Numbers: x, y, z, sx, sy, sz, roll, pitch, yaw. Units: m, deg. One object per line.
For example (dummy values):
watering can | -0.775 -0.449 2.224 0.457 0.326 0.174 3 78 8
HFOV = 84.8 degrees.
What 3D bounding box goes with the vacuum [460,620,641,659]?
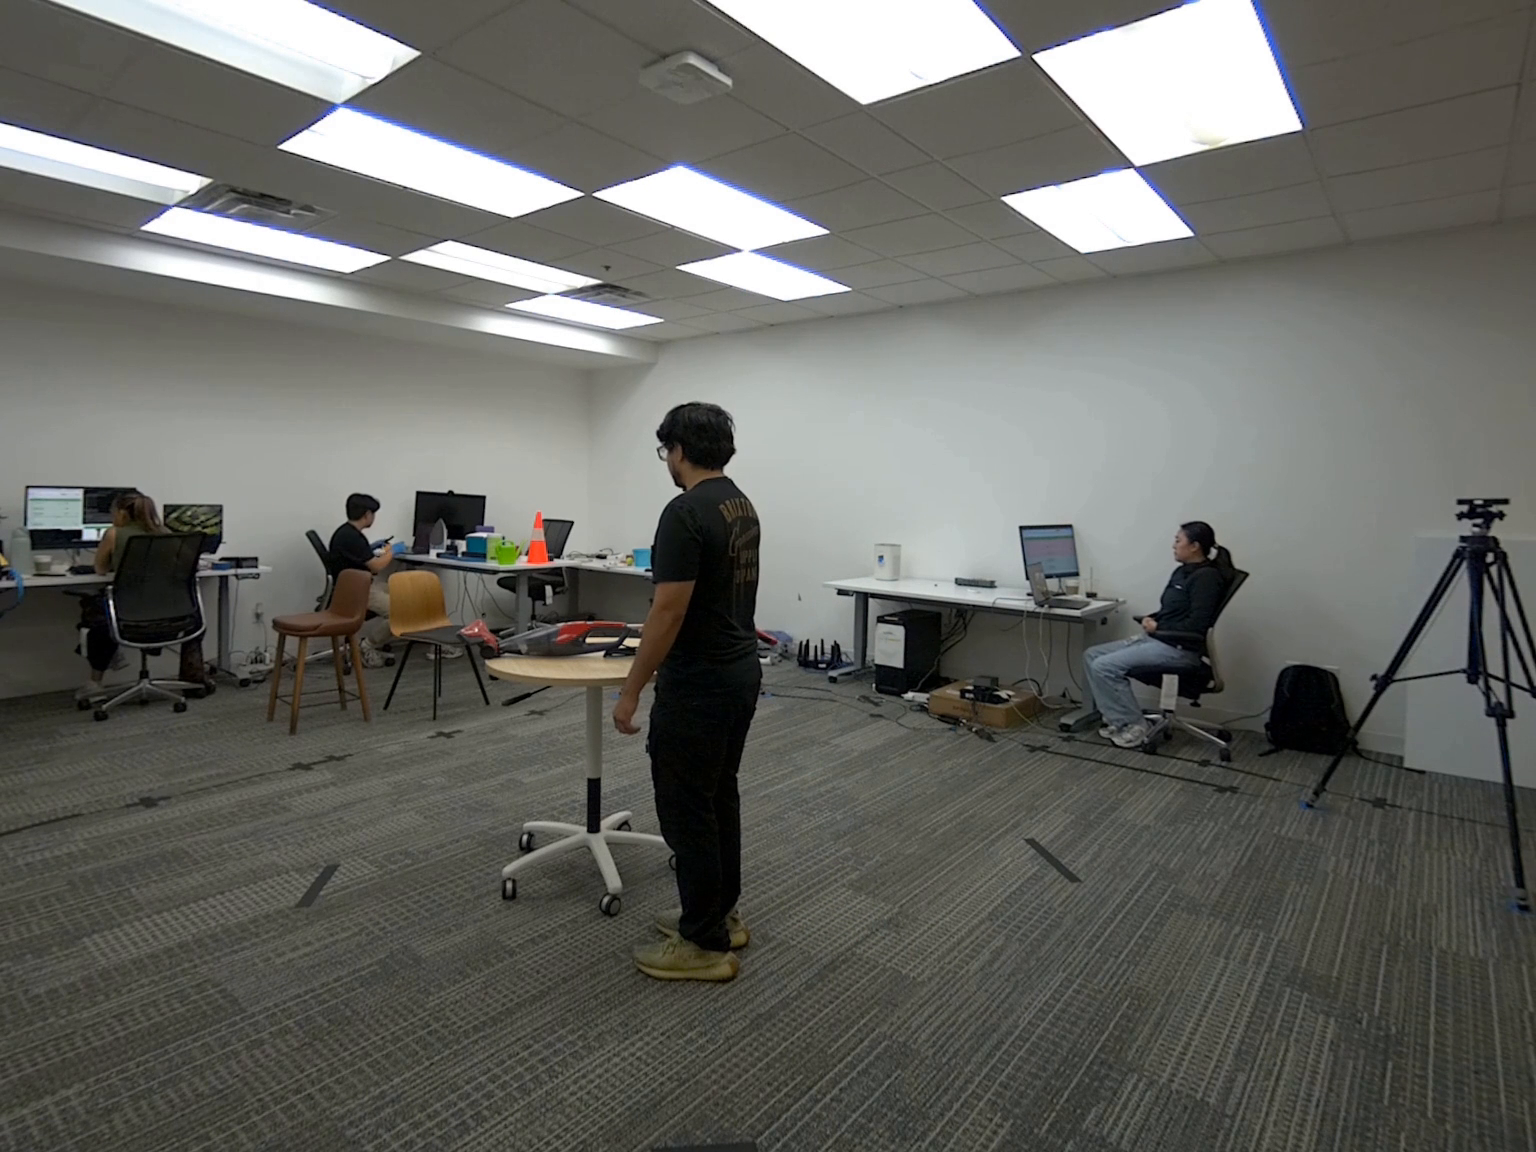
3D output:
vacuum | -0.518 0.230 3.027 1.050 0.144 0.253 0 3 1
